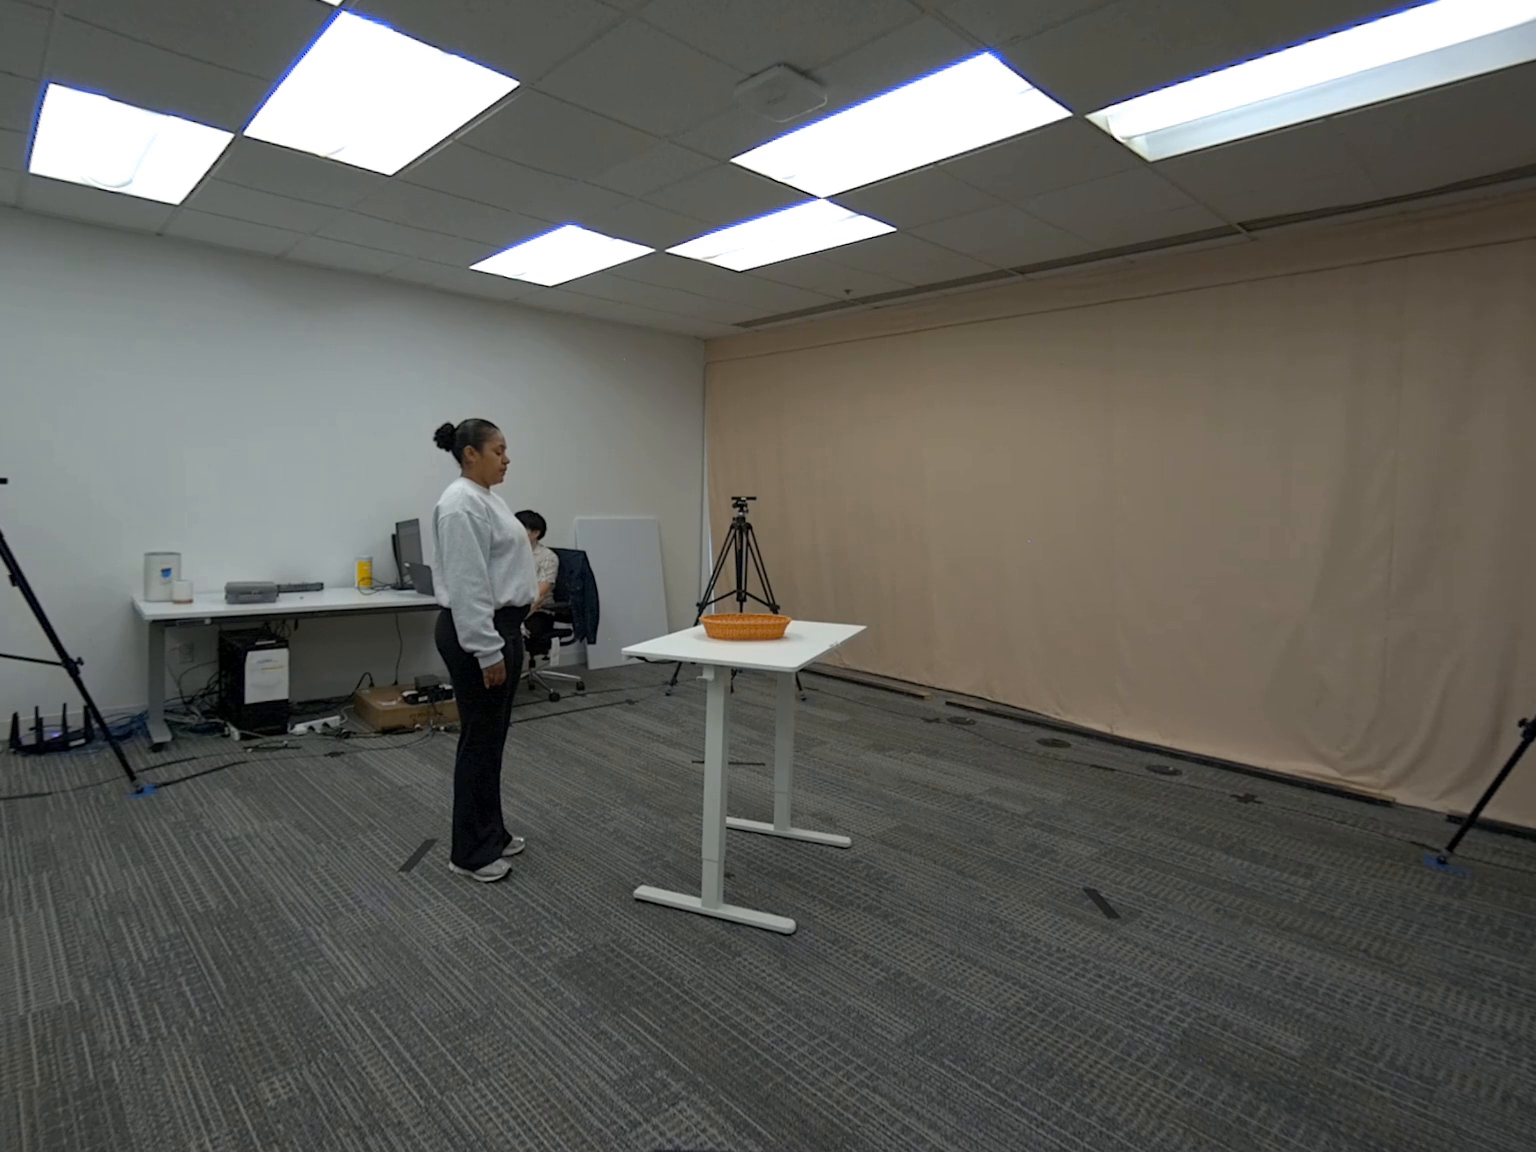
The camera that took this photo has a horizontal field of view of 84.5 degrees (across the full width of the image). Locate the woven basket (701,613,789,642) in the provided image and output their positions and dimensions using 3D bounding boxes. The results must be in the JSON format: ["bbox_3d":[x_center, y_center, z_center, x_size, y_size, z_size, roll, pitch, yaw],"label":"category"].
[{"bbox_3d":[-0.100,0.193,3.107,0.346,0.073,0.256,0,6,-16],"label":"woven basket"}]
